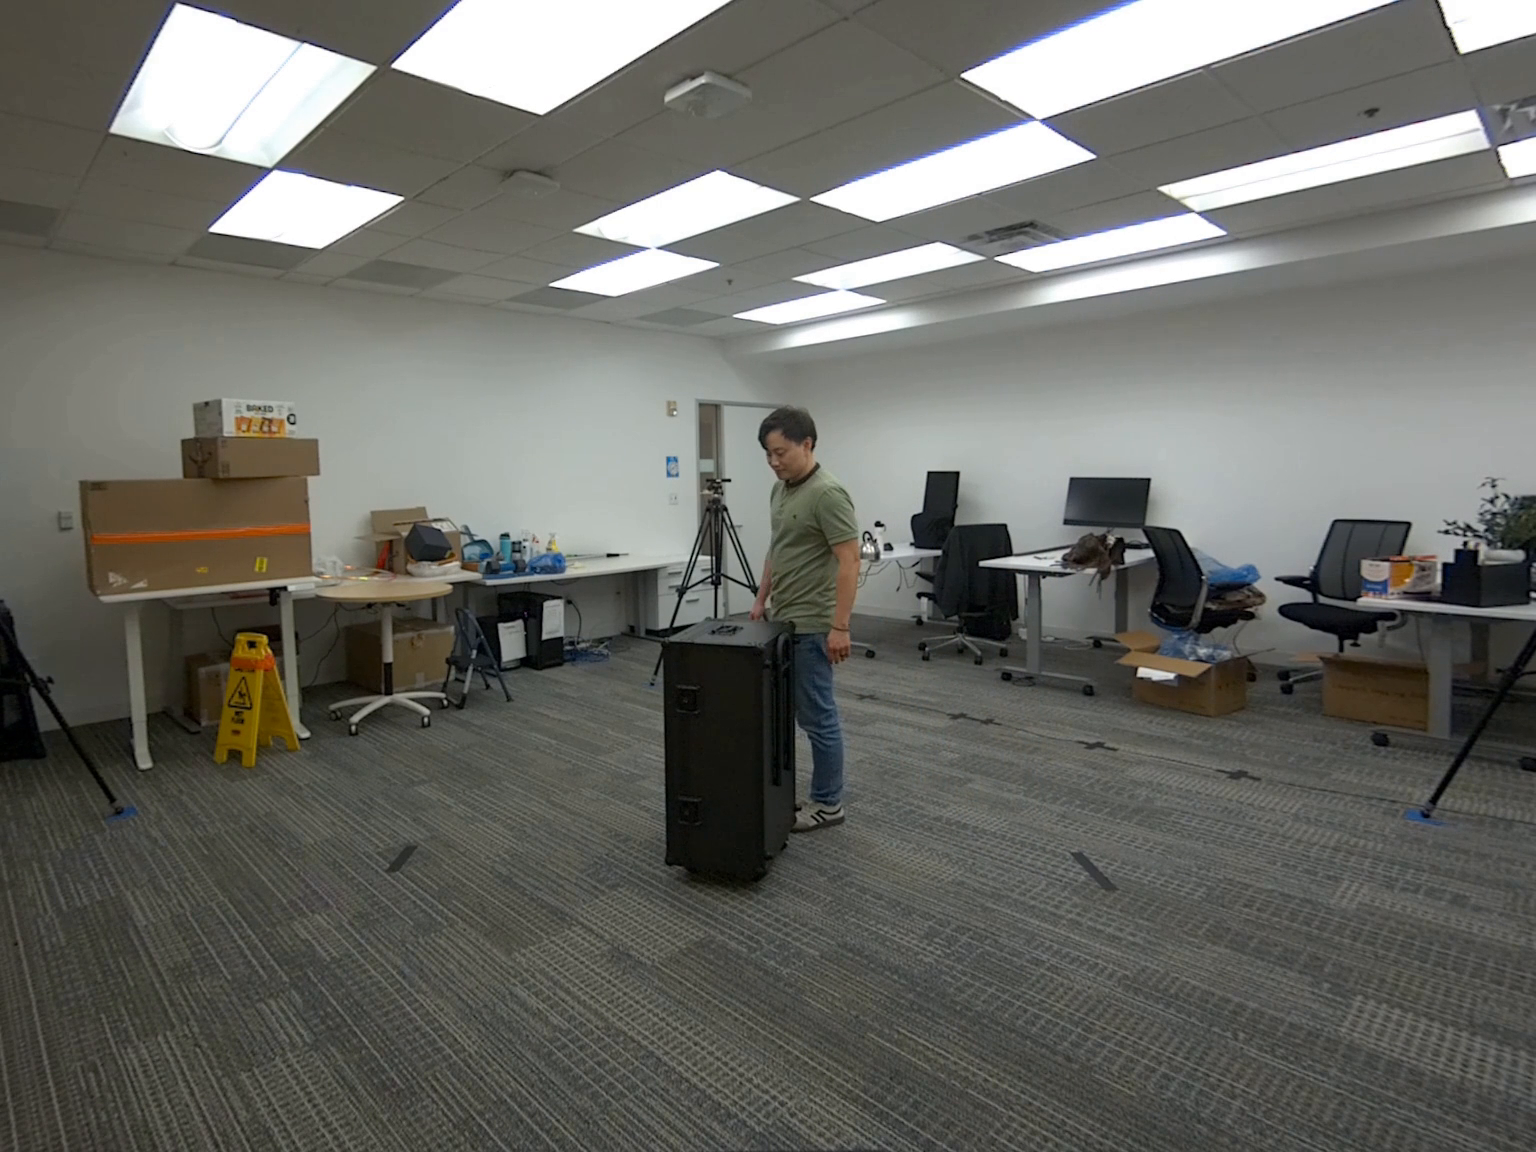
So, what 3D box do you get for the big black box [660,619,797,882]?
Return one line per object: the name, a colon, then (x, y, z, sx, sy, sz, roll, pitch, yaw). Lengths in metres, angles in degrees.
big black box: (-0.121, 0.622, 3.095, 0.403, 0.859, 0.515, 0, 4, 16)
